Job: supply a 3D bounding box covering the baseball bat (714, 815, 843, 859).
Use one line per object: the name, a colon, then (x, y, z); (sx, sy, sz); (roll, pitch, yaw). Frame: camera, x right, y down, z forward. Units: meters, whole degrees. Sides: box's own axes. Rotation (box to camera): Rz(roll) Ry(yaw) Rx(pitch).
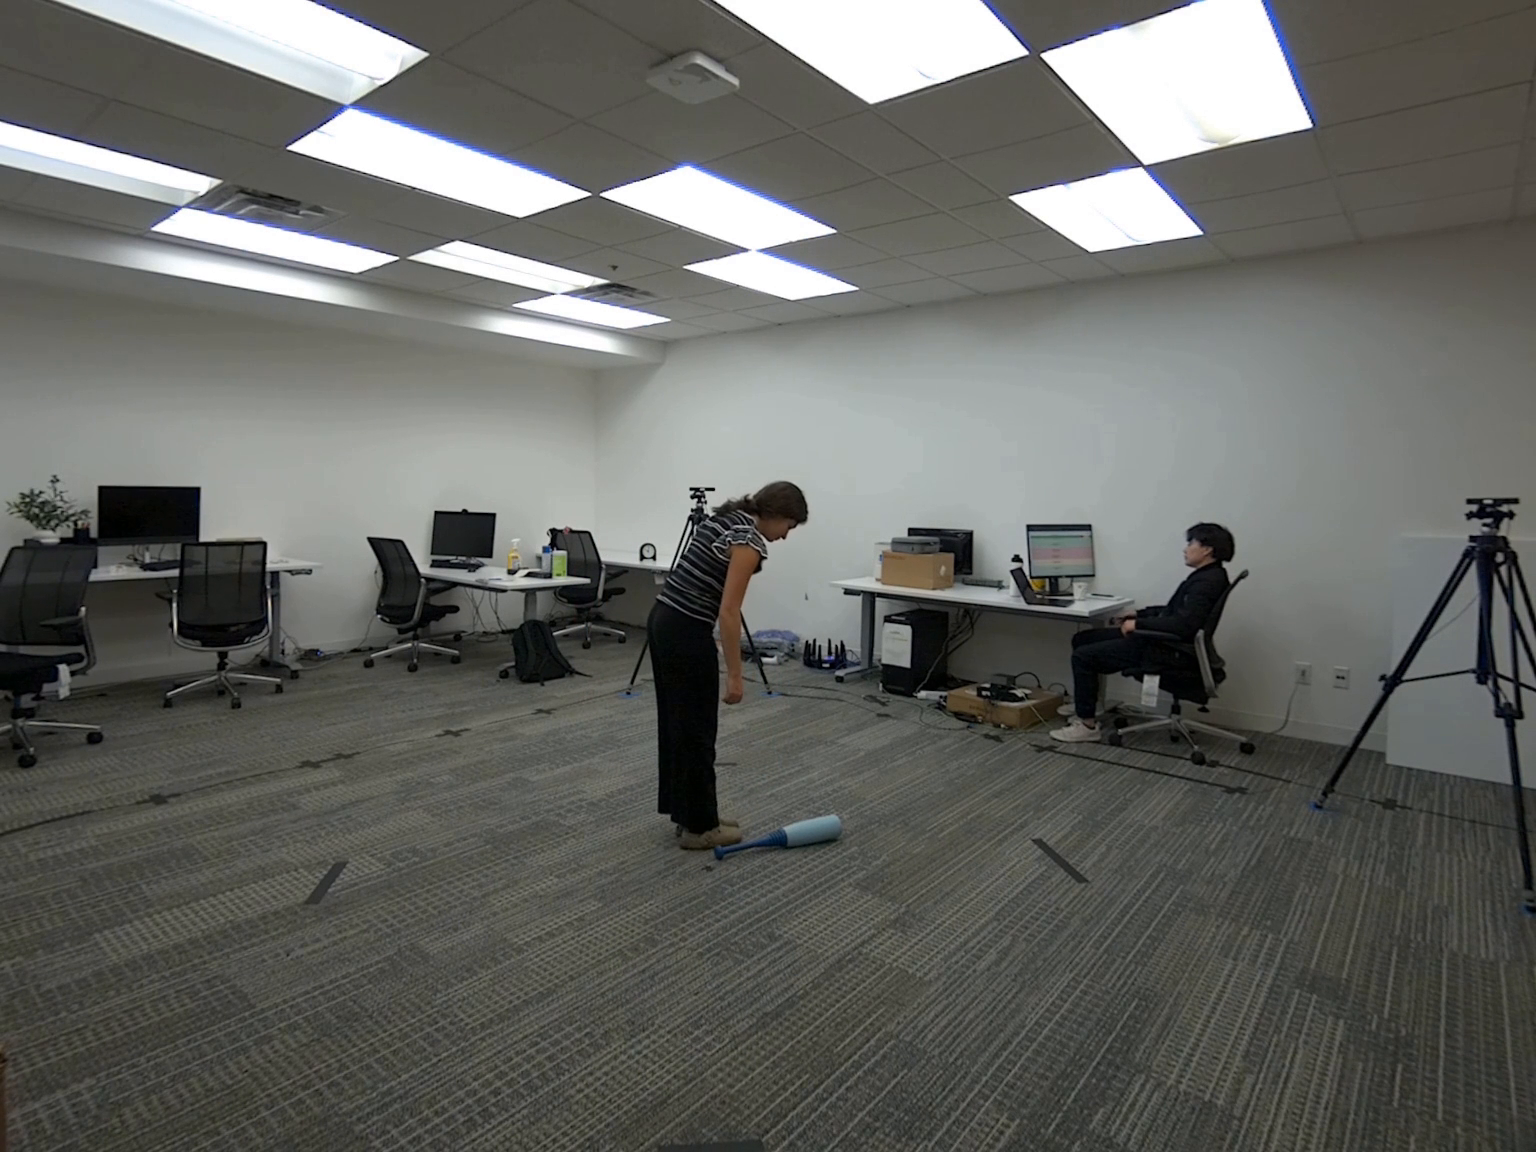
baseball bat: (0.035, 1.019, 3.301); (0.531, 0.088, 0.091); (-5, 6, -24)
